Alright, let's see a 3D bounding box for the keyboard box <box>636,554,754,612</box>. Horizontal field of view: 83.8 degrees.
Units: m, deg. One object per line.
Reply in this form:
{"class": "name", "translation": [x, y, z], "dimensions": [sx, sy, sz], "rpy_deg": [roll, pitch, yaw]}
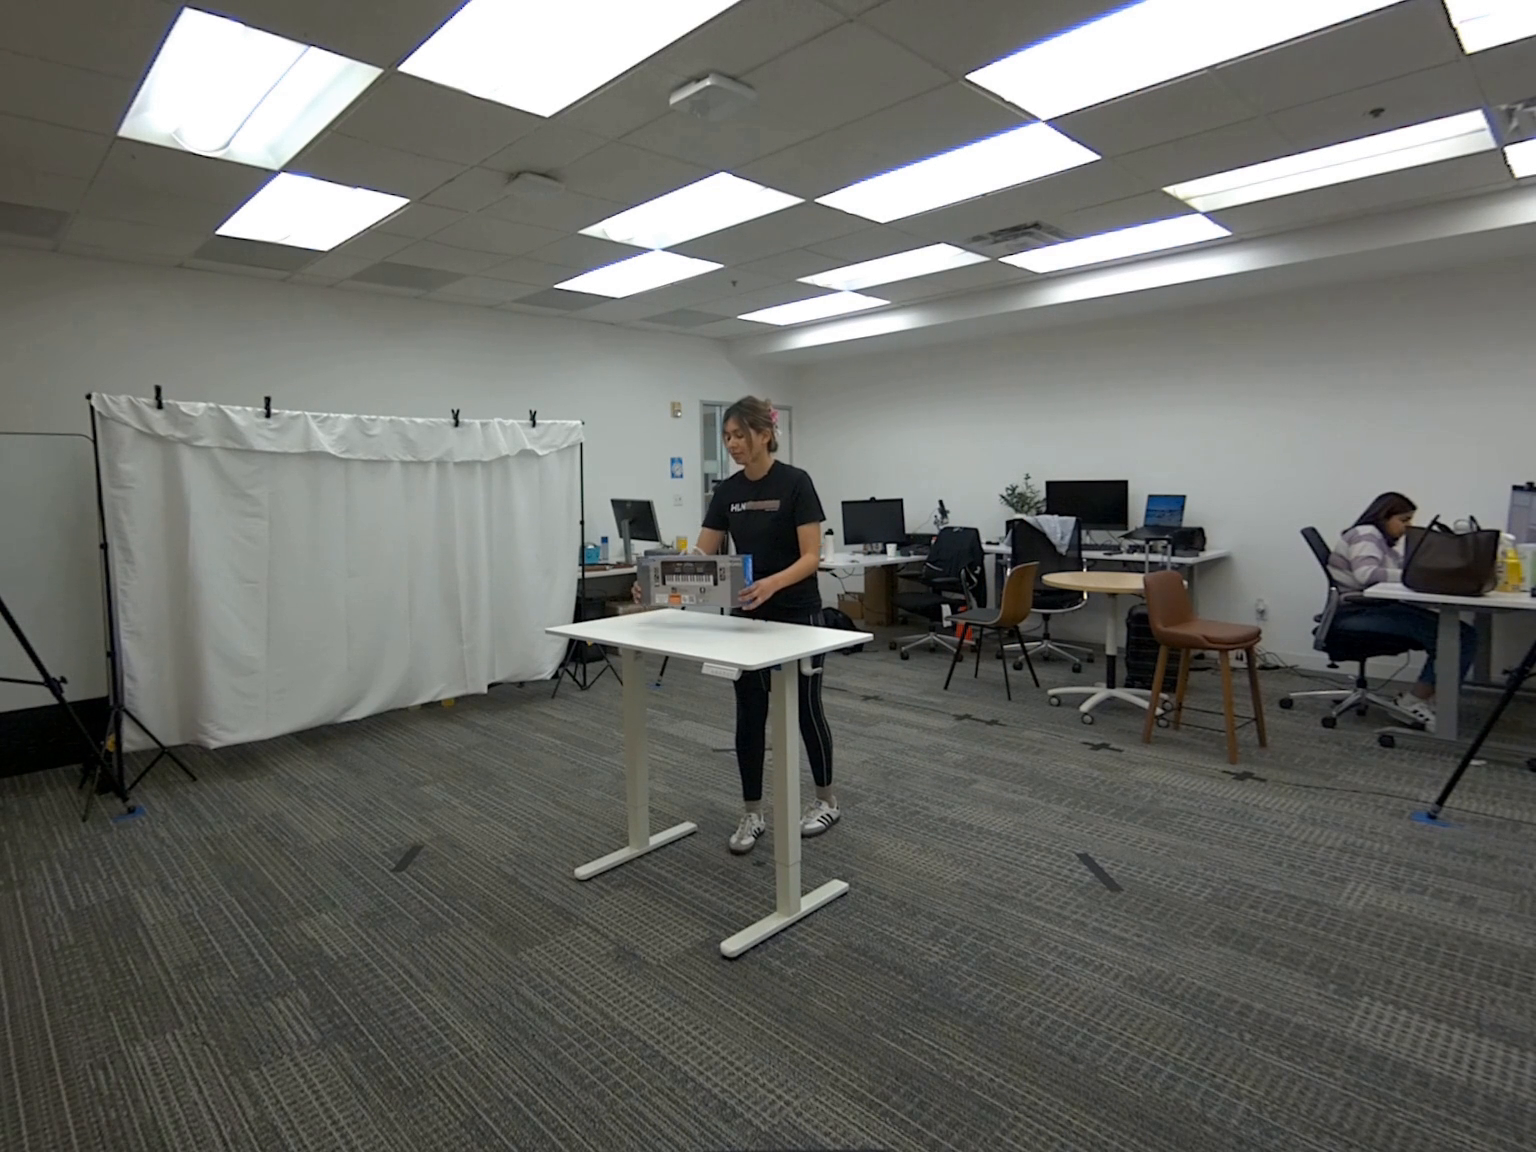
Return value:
{"class": "keyboard box", "translation": [-0.258, 0.017, 2.964], "dimensions": [0.448, 0.175, 0.058], "rpy_deg": [0, 3, 29]}
